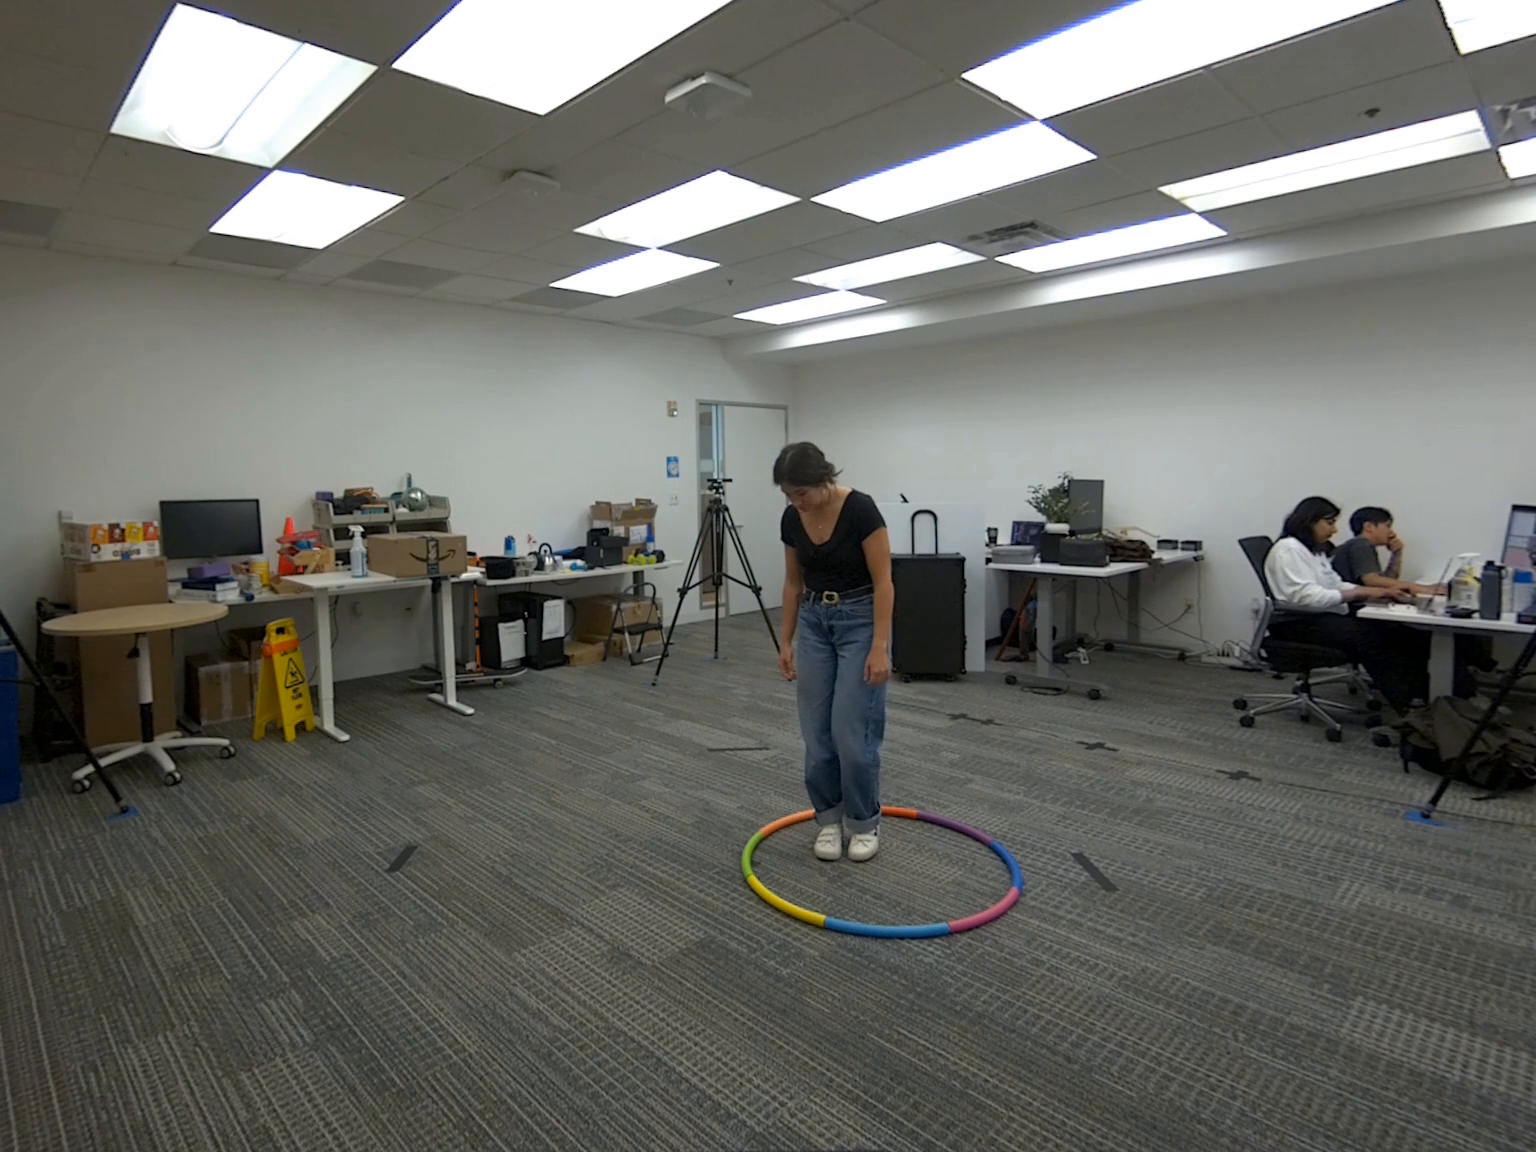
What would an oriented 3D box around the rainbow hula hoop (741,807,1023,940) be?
[{"bbox_3d":[0.389,1.012,3.073,0.978,0.035,0.984,-1,7,-2],"label":"rainbow hula hoop"}]
